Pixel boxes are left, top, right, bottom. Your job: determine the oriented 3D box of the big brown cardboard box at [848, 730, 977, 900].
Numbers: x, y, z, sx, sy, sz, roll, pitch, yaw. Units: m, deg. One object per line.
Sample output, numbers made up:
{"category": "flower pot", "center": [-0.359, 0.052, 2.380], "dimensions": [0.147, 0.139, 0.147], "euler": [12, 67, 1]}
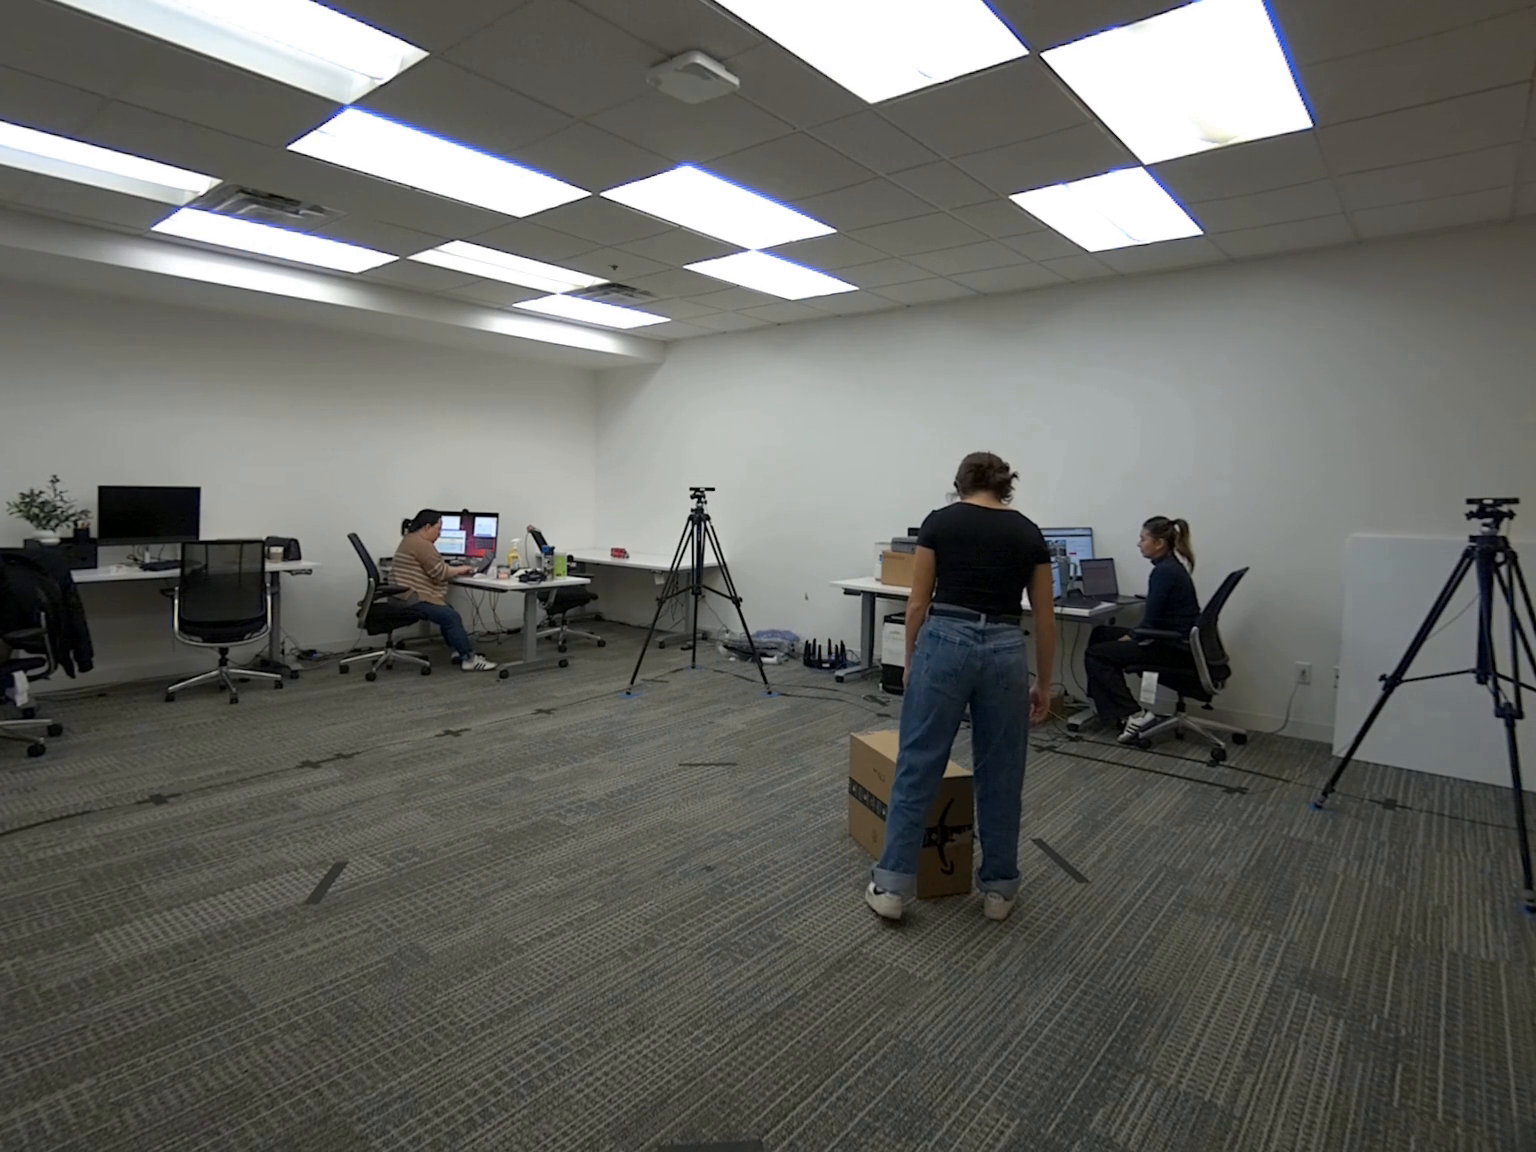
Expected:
{"category": "big brown cardboard box", "center": [0.516, 0.865, 3.210], "dimensions": [0.229, 0.416, 0.602], "euler": [-1, 6, -18]}
